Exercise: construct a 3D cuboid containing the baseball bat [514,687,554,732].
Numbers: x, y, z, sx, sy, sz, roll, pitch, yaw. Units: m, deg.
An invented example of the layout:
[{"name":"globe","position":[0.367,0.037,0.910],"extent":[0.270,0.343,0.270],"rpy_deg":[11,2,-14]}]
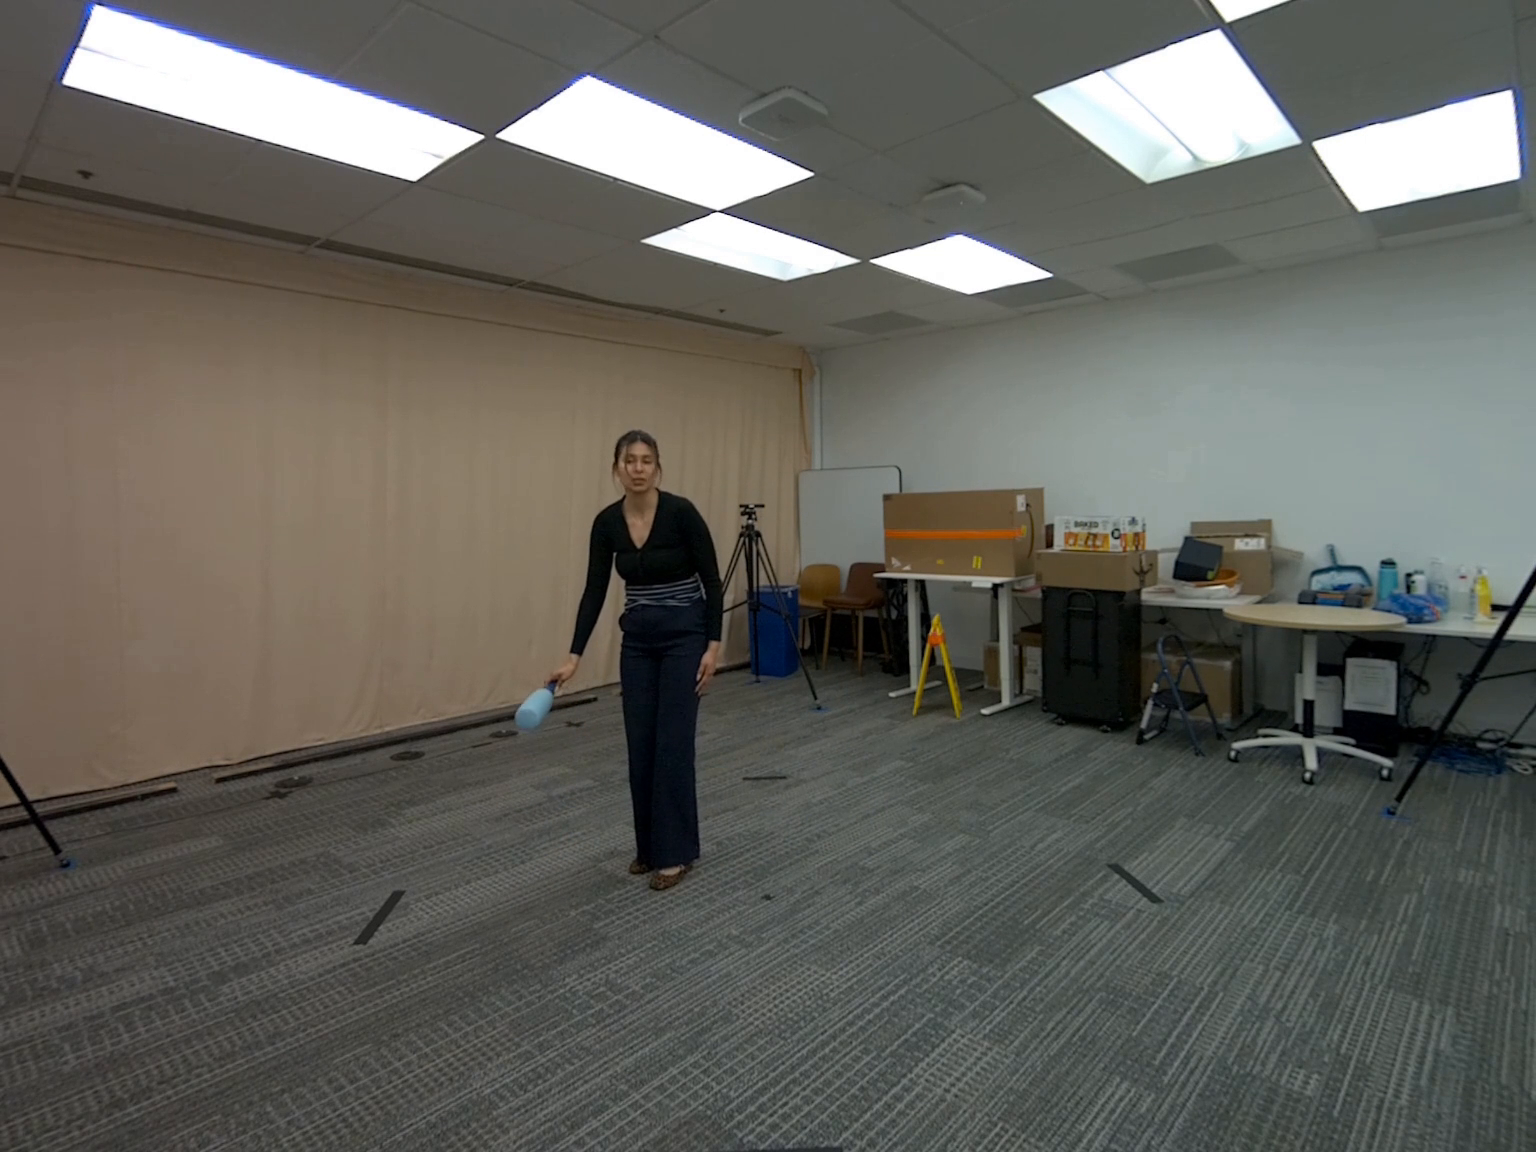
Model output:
[{"name":"baseball bat","position":[-0.792,0.429,2.997],"extent":[0.089,0.088,0.547],"rpy_deg":[-1,8,-5]}]
